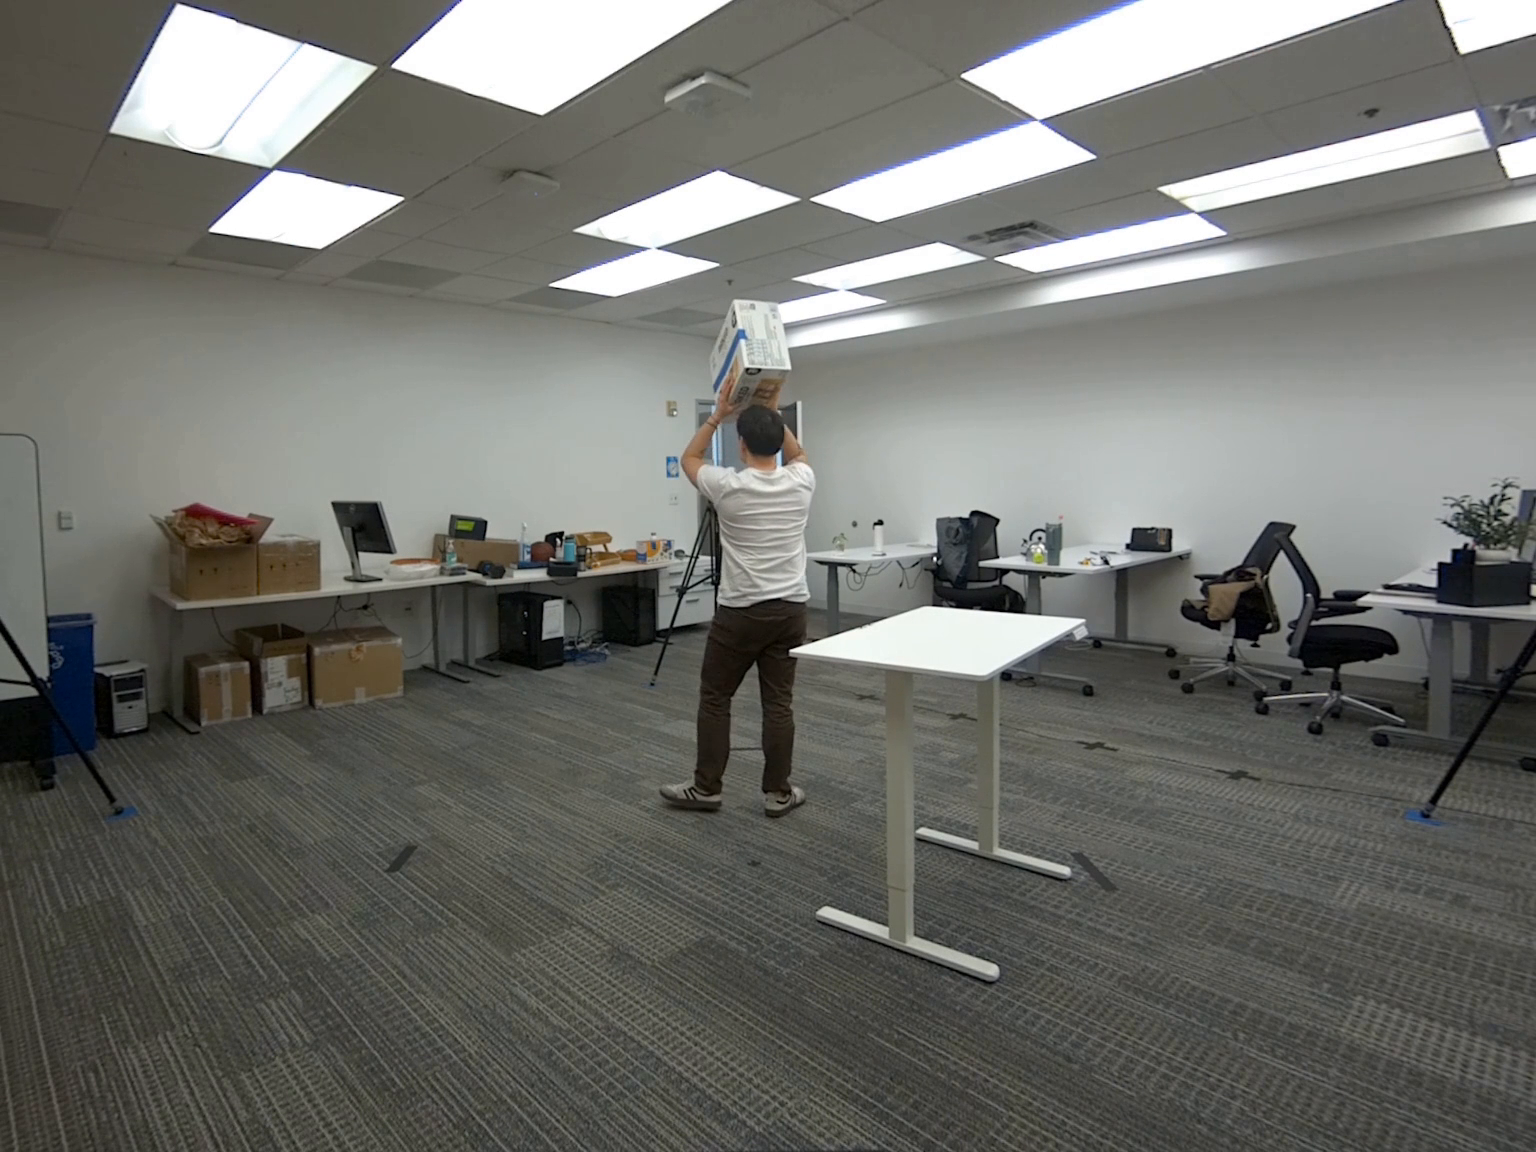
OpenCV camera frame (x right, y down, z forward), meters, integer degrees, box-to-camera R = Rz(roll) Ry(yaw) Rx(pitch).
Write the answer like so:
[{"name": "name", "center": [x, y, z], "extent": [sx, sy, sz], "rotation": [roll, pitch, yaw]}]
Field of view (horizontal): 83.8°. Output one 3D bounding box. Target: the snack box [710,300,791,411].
[{"name": "snack box", "center": [-0.091, -0.902, 3.633], "extent": [0.202, 0.348, 0.403], "rotation": [-1, -24, -19]}]
